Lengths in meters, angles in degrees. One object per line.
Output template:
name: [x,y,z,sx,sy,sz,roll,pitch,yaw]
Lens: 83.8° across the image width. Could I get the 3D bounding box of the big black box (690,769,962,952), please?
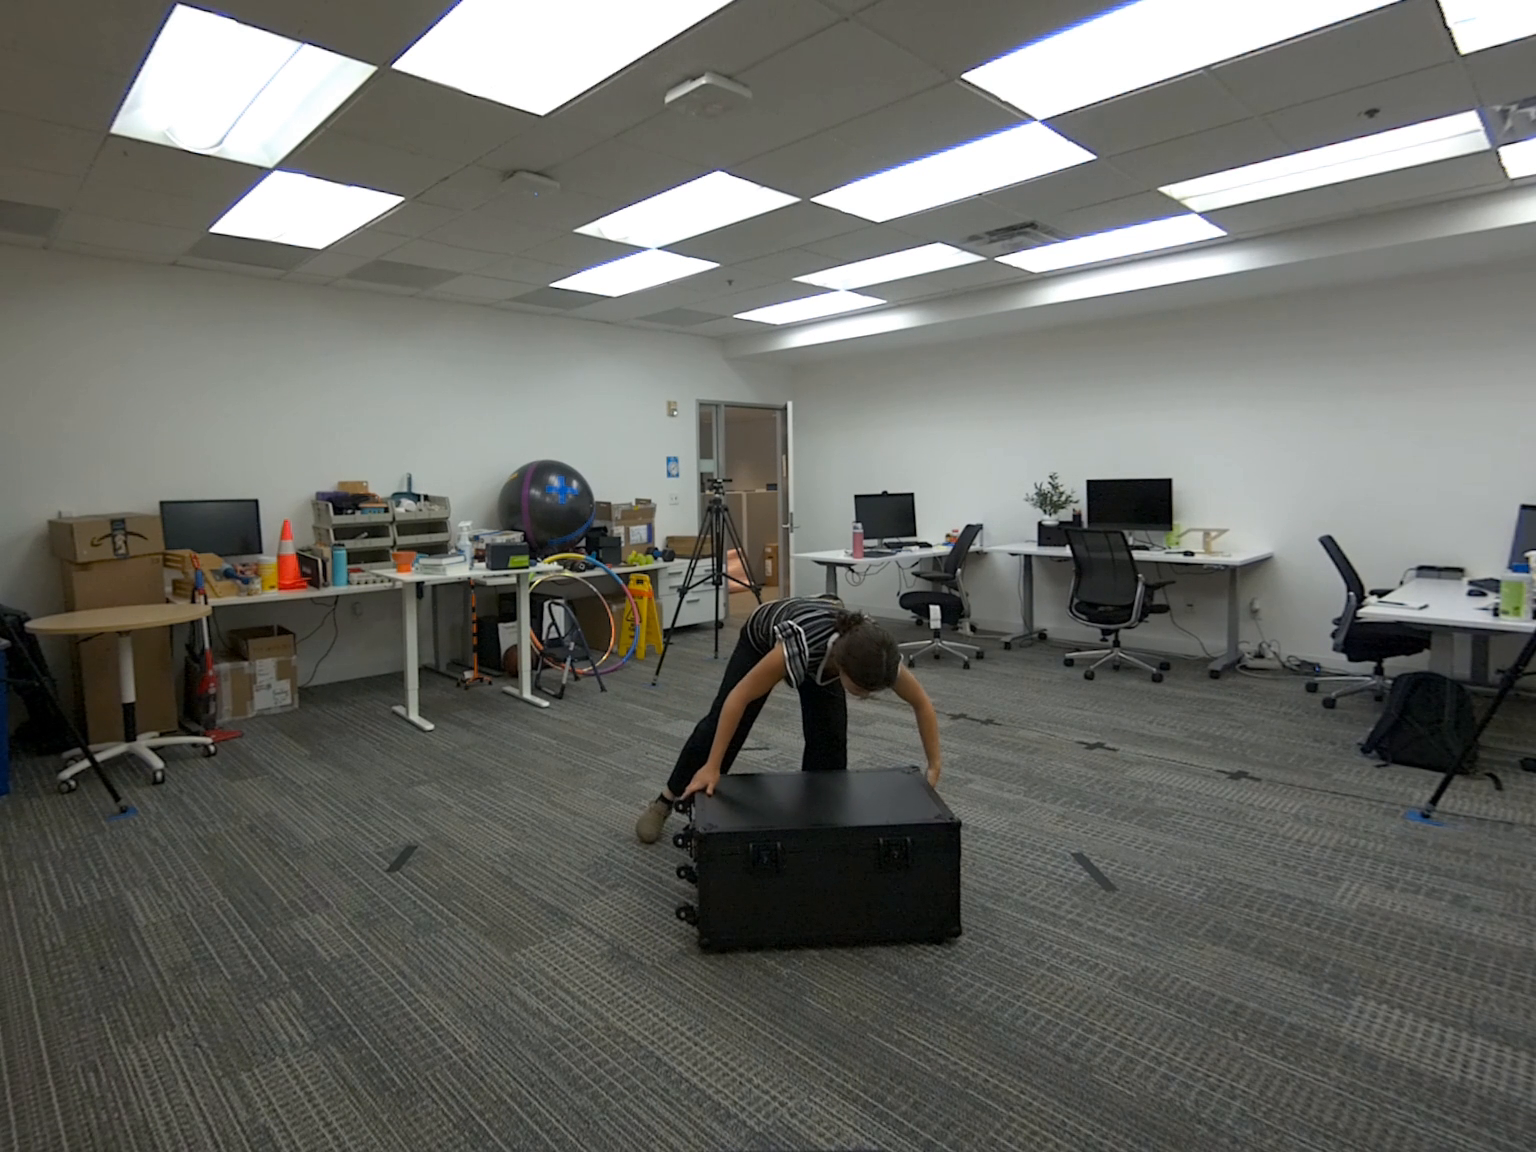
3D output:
big black box: [0.130,0.893,2.747,0.858,0.394,0.526,-1,6,-4]
